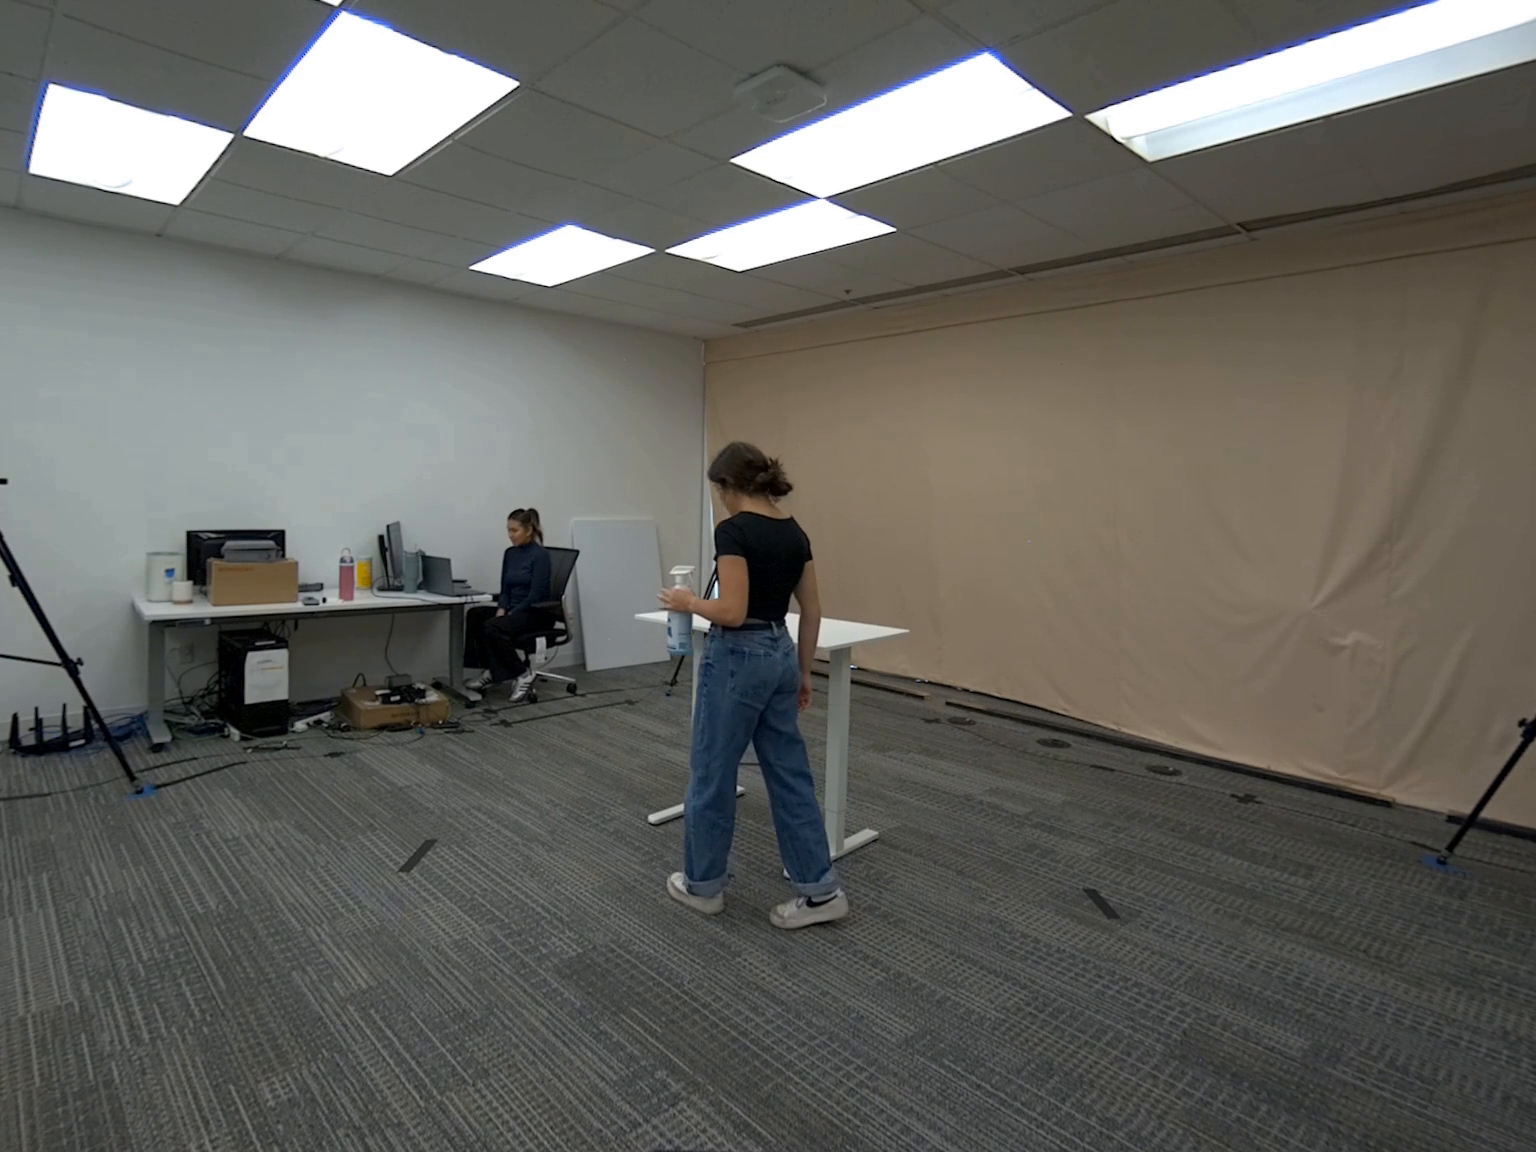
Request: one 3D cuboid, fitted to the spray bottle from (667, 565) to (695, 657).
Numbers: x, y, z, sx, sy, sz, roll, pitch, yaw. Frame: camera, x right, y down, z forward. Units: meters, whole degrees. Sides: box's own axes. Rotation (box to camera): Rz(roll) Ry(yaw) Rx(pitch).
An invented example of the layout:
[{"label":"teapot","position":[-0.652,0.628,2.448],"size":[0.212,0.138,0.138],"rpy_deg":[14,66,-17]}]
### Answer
[{"label":"spray bottle","position":[-0.293,0.113,2.817],"size":[0.092,0.296,0.085],"rpy_deg":[9,9,43]}]
